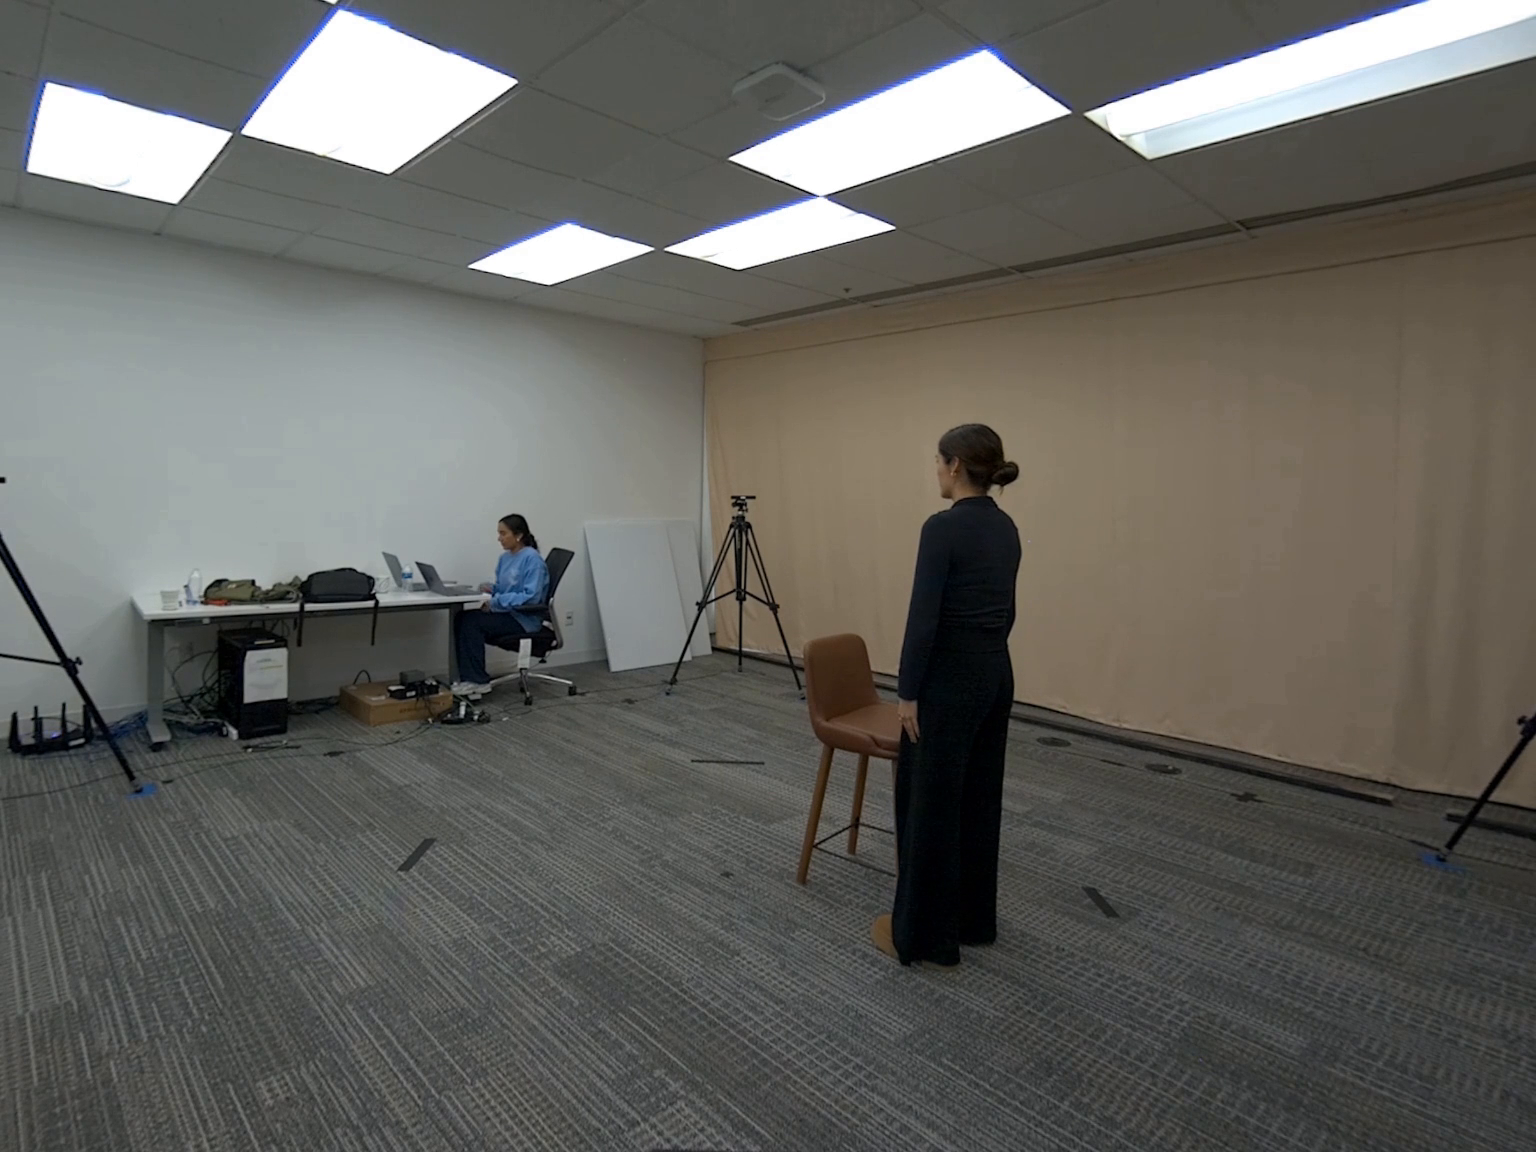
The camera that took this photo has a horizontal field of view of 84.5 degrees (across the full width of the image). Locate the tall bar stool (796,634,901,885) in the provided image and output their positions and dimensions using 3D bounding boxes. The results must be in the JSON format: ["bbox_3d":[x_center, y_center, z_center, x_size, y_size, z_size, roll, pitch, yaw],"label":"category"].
[{"bbox_3d":[0.400,0.687,3.034,0.479,0.888,0.446,3,3,38],"label":"tall bar stool"}]
